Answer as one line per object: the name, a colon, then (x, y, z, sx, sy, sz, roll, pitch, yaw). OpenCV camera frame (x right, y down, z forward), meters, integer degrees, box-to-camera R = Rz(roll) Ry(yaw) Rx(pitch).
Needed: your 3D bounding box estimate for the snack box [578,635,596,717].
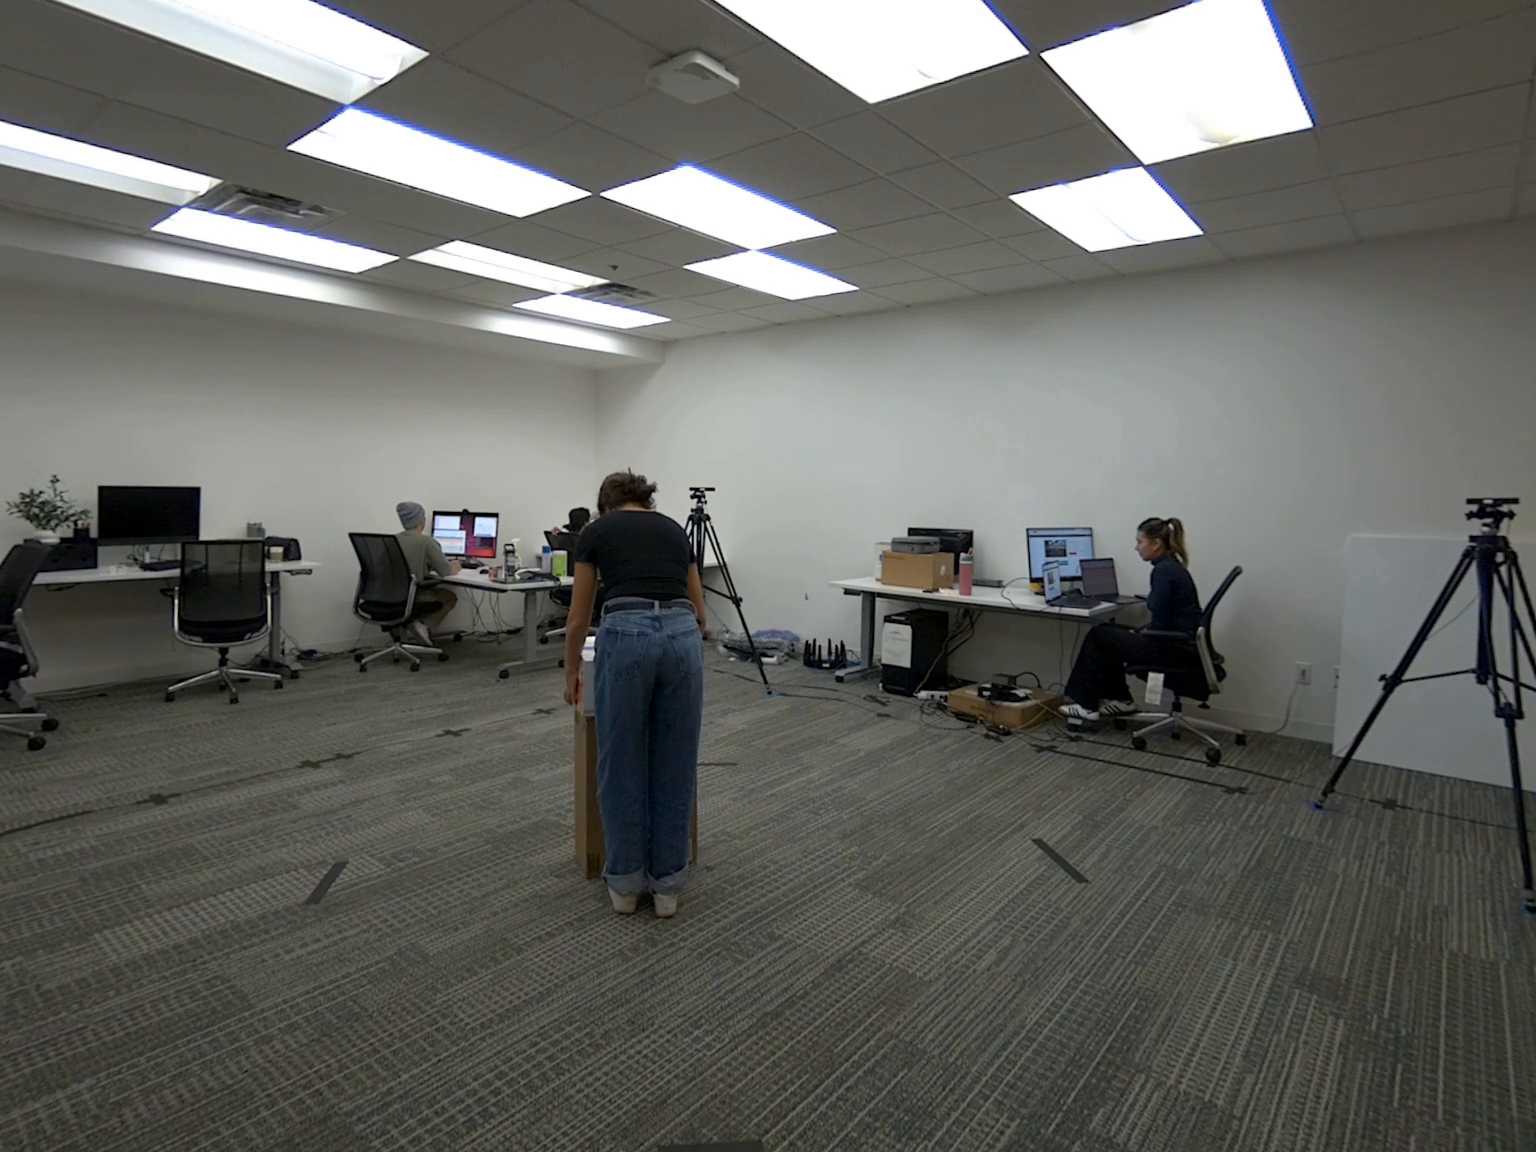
snack box: (-0.529, 0.353, 3.163, 0.396, 0.204, 0.350, -1, 10, -22)
